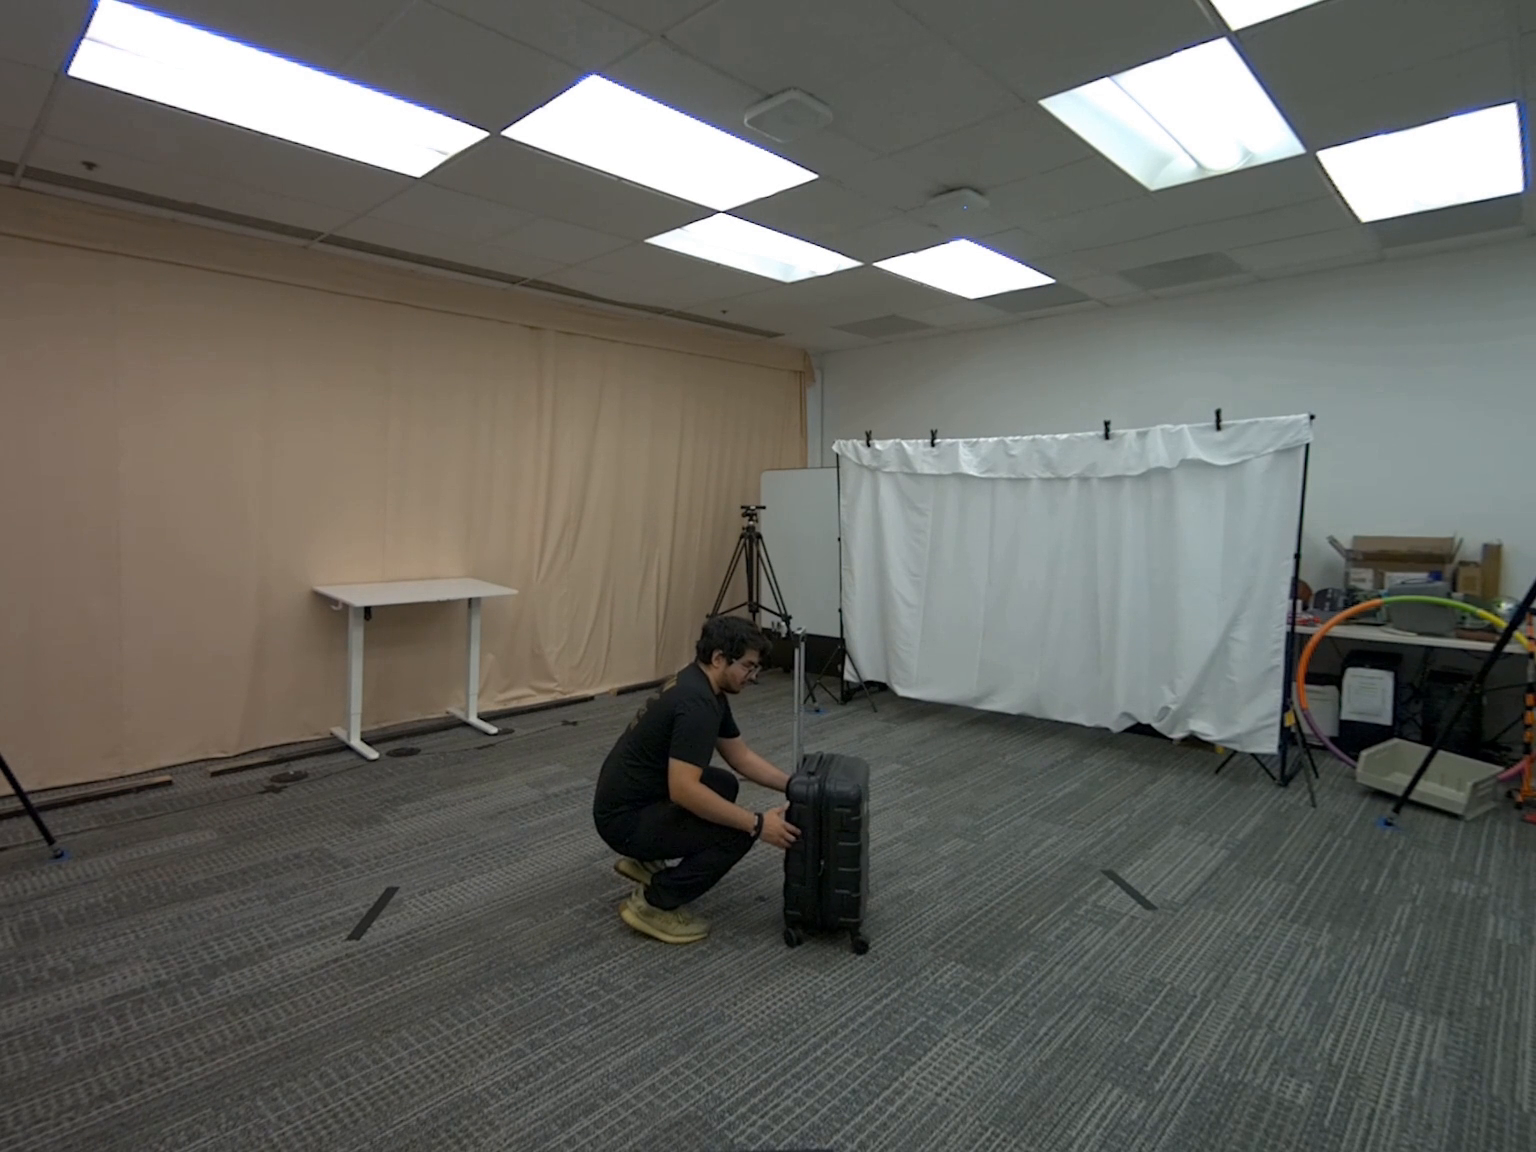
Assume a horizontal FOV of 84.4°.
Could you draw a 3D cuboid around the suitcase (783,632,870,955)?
[{"bbox_3d":[0.212,0.687,2.769,0.260,0.976,0.381,2,4,9],"label":"suitcase"}]
